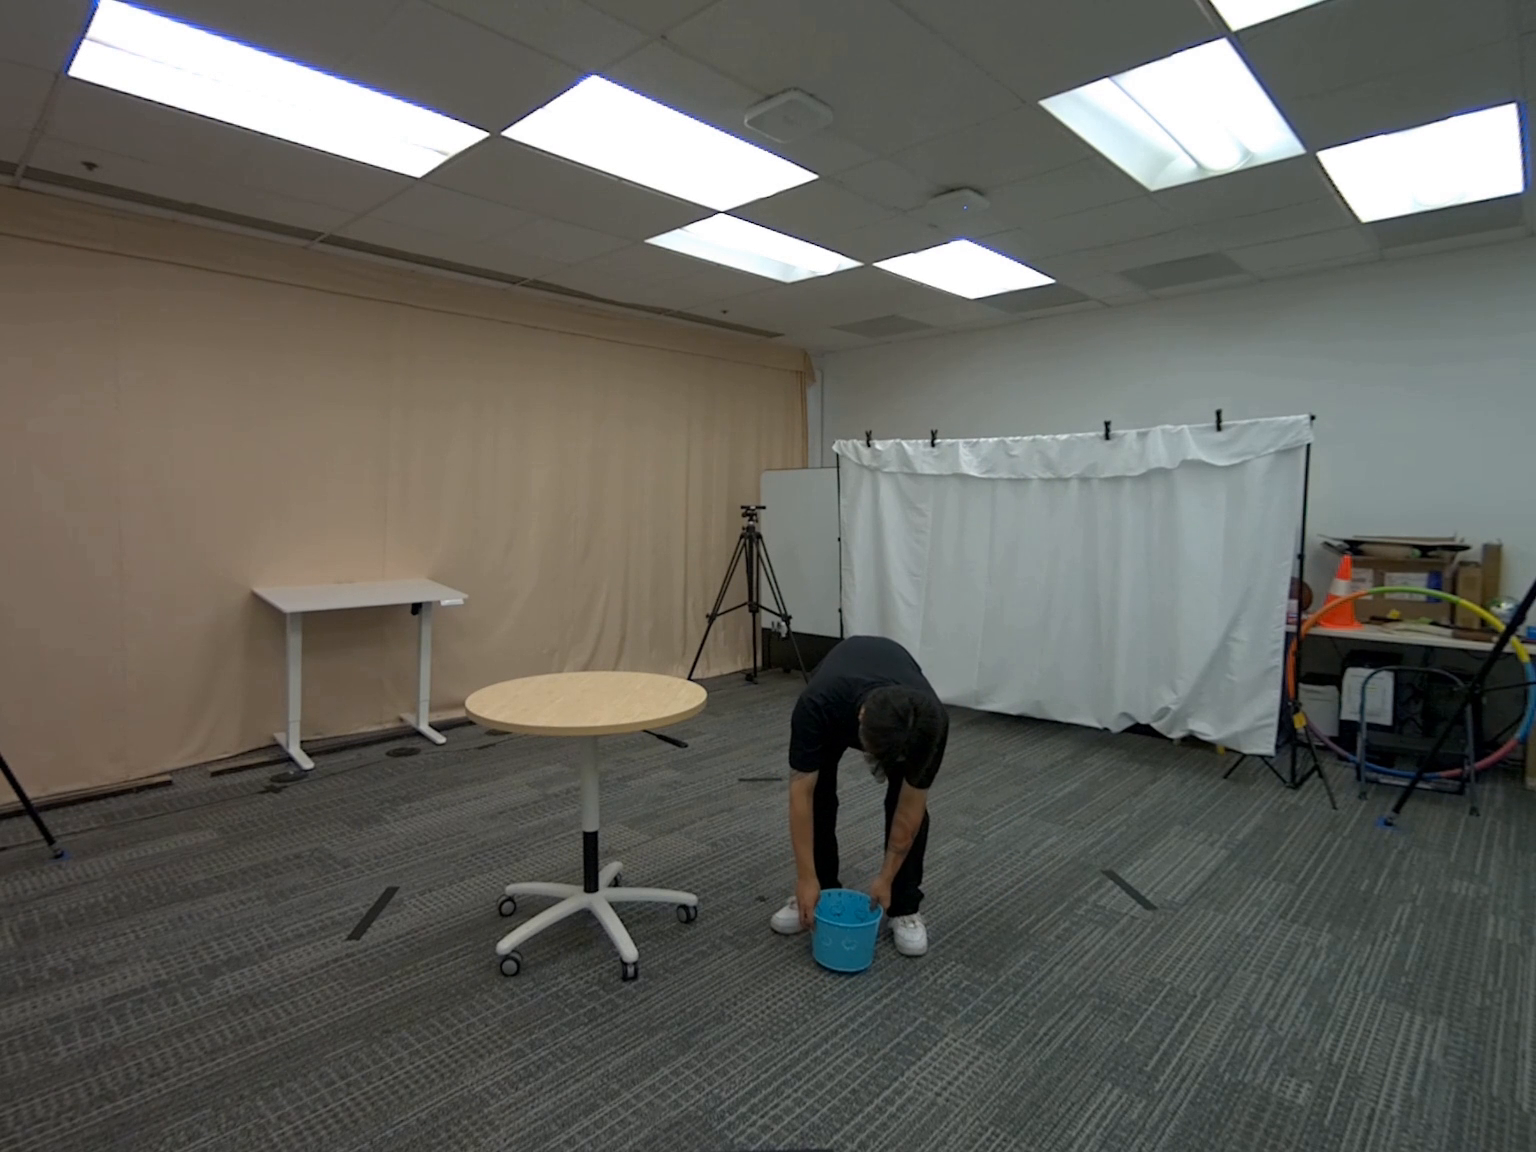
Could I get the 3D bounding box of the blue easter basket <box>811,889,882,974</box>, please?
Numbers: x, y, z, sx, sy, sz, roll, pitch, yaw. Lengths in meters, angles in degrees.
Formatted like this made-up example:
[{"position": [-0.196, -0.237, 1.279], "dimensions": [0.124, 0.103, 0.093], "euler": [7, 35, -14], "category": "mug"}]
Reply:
[{"position": [0.223, 1.075, 2.571], "dimensions": [0.243, 0.156, 0.244], "euler": [1, 3, -2], "category": "blue easter basket"}]
